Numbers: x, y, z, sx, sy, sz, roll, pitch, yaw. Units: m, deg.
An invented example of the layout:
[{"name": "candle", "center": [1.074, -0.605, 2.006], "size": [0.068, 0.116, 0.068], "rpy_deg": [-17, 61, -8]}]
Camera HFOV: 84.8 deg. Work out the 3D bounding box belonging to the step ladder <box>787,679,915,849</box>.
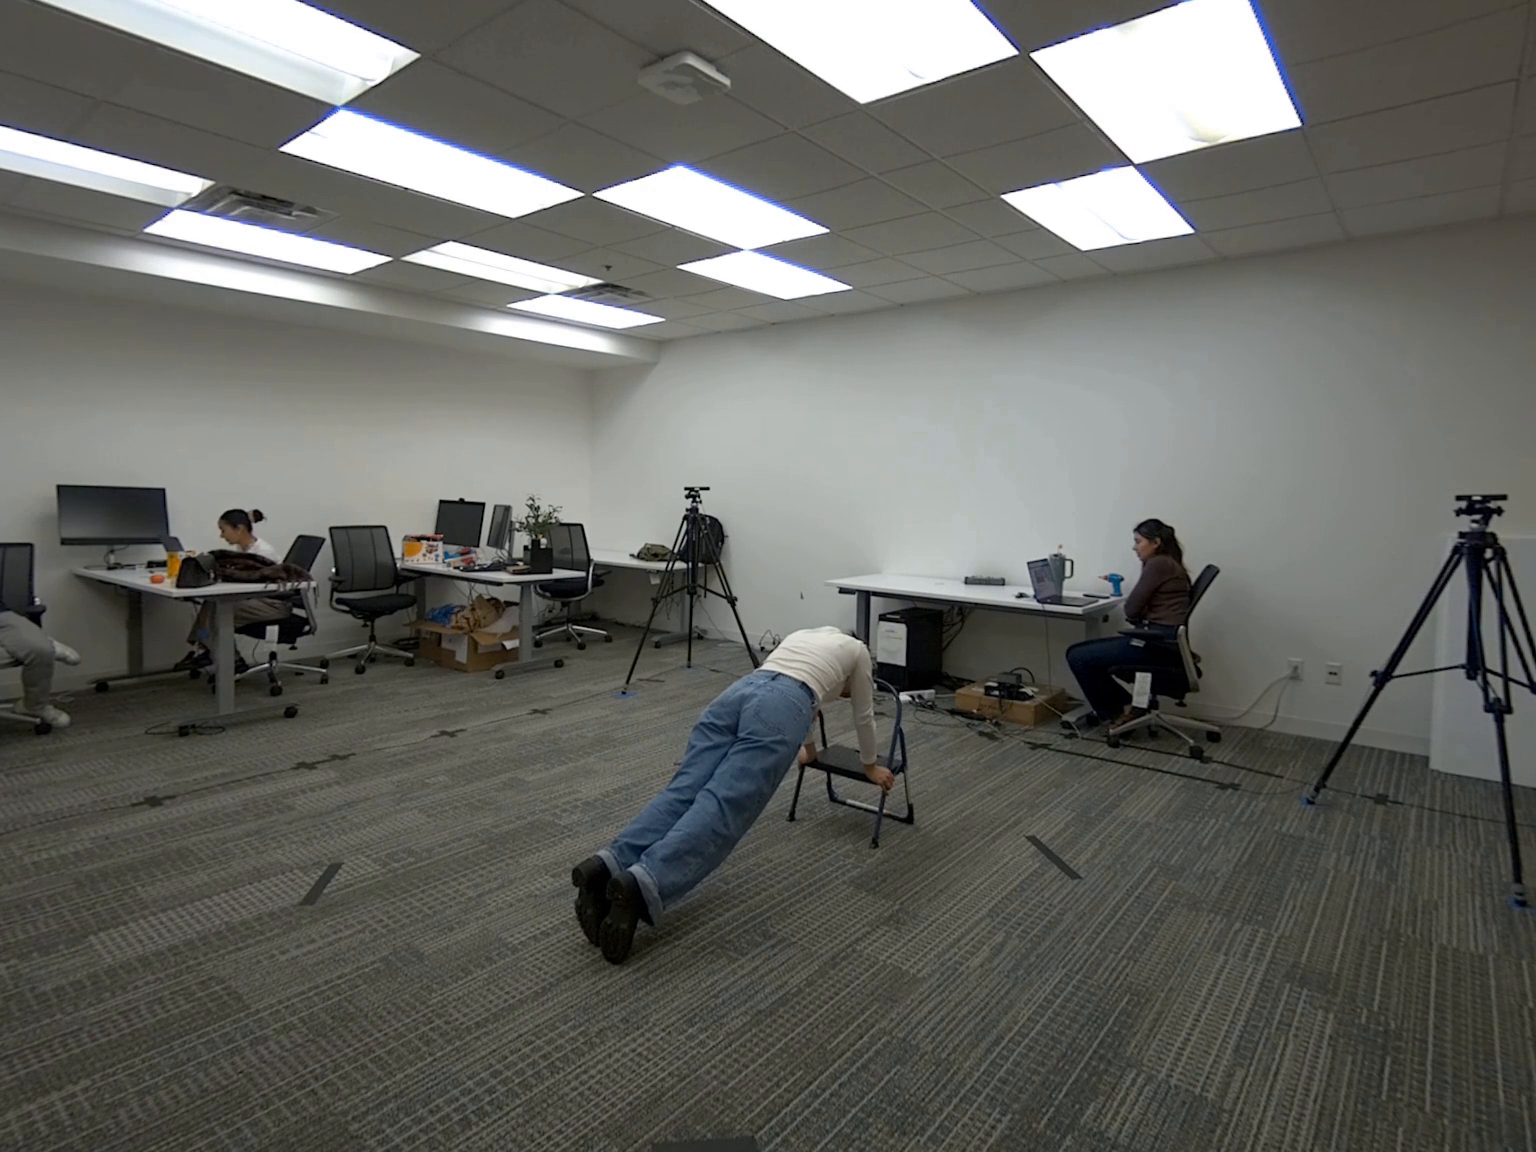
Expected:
[{"name": "step ladder", "center": [0.351, 0.730, 3.562], "size": [0.445, 0.604, 0.339], "rpy_deg": [4, 4, 38]}]
